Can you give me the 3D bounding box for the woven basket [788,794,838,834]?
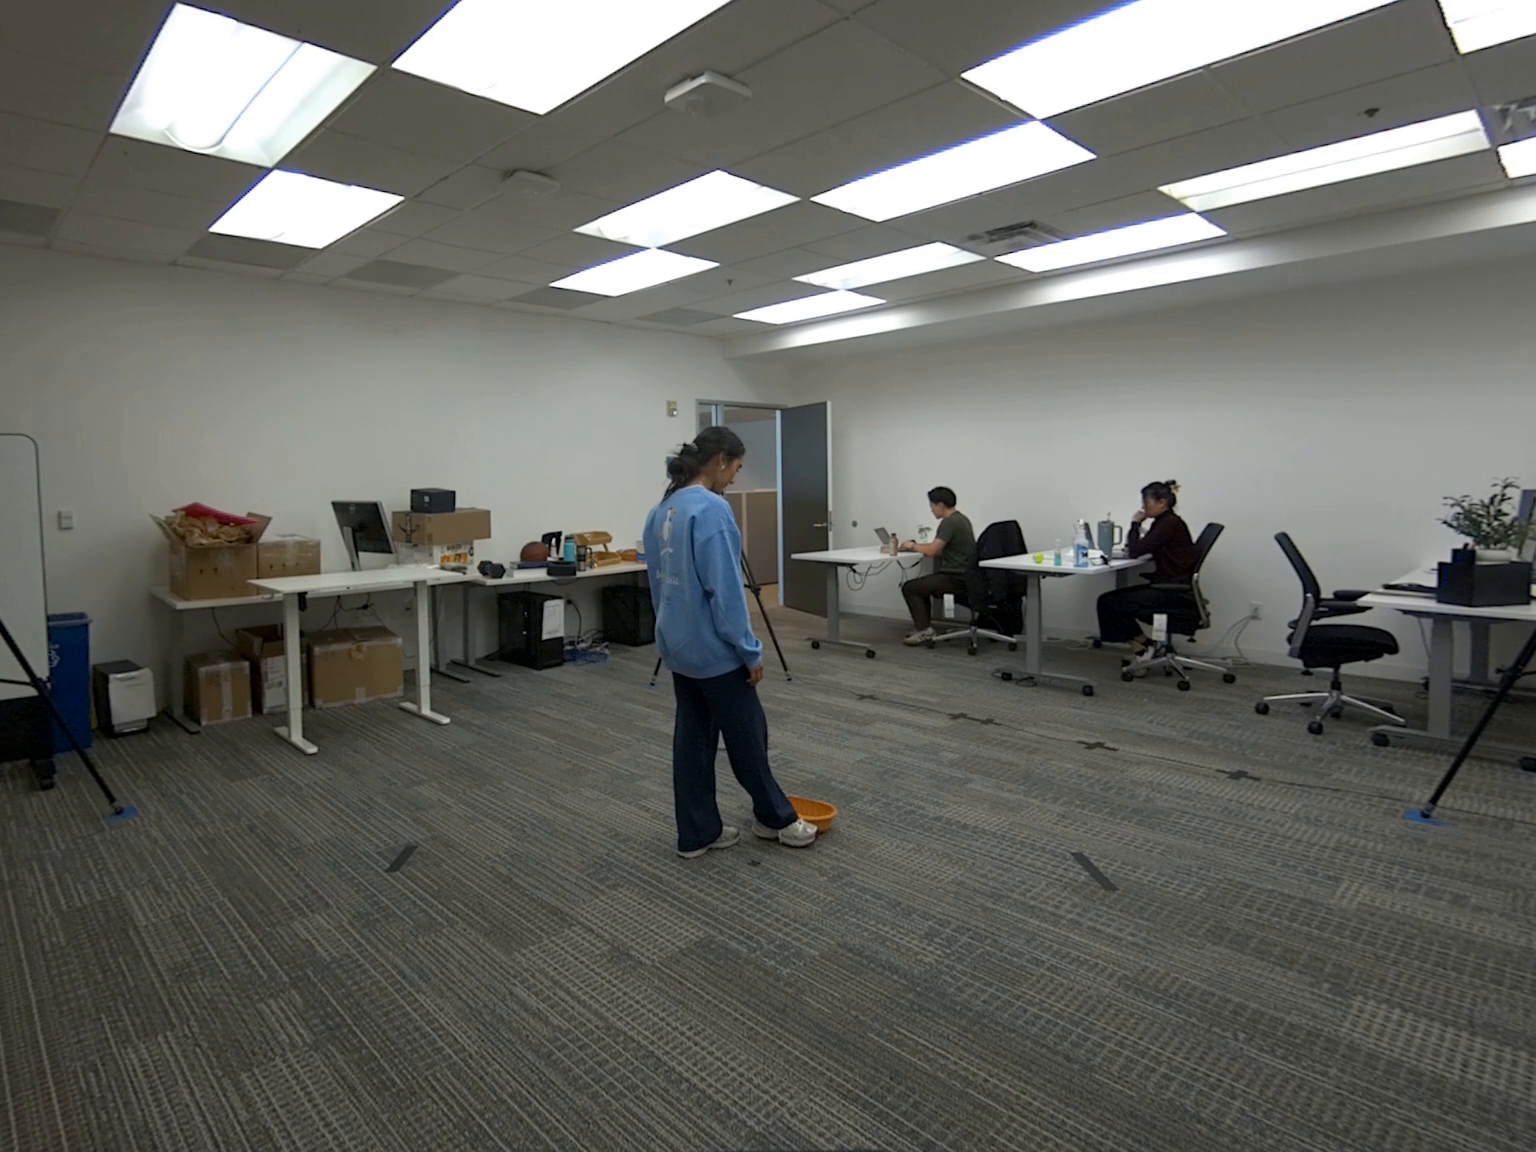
[{"bbox_3d":[0.106,0.958,3.429,0.360,0.073,0.246,2,2,33],"label":"woven basket"}]
